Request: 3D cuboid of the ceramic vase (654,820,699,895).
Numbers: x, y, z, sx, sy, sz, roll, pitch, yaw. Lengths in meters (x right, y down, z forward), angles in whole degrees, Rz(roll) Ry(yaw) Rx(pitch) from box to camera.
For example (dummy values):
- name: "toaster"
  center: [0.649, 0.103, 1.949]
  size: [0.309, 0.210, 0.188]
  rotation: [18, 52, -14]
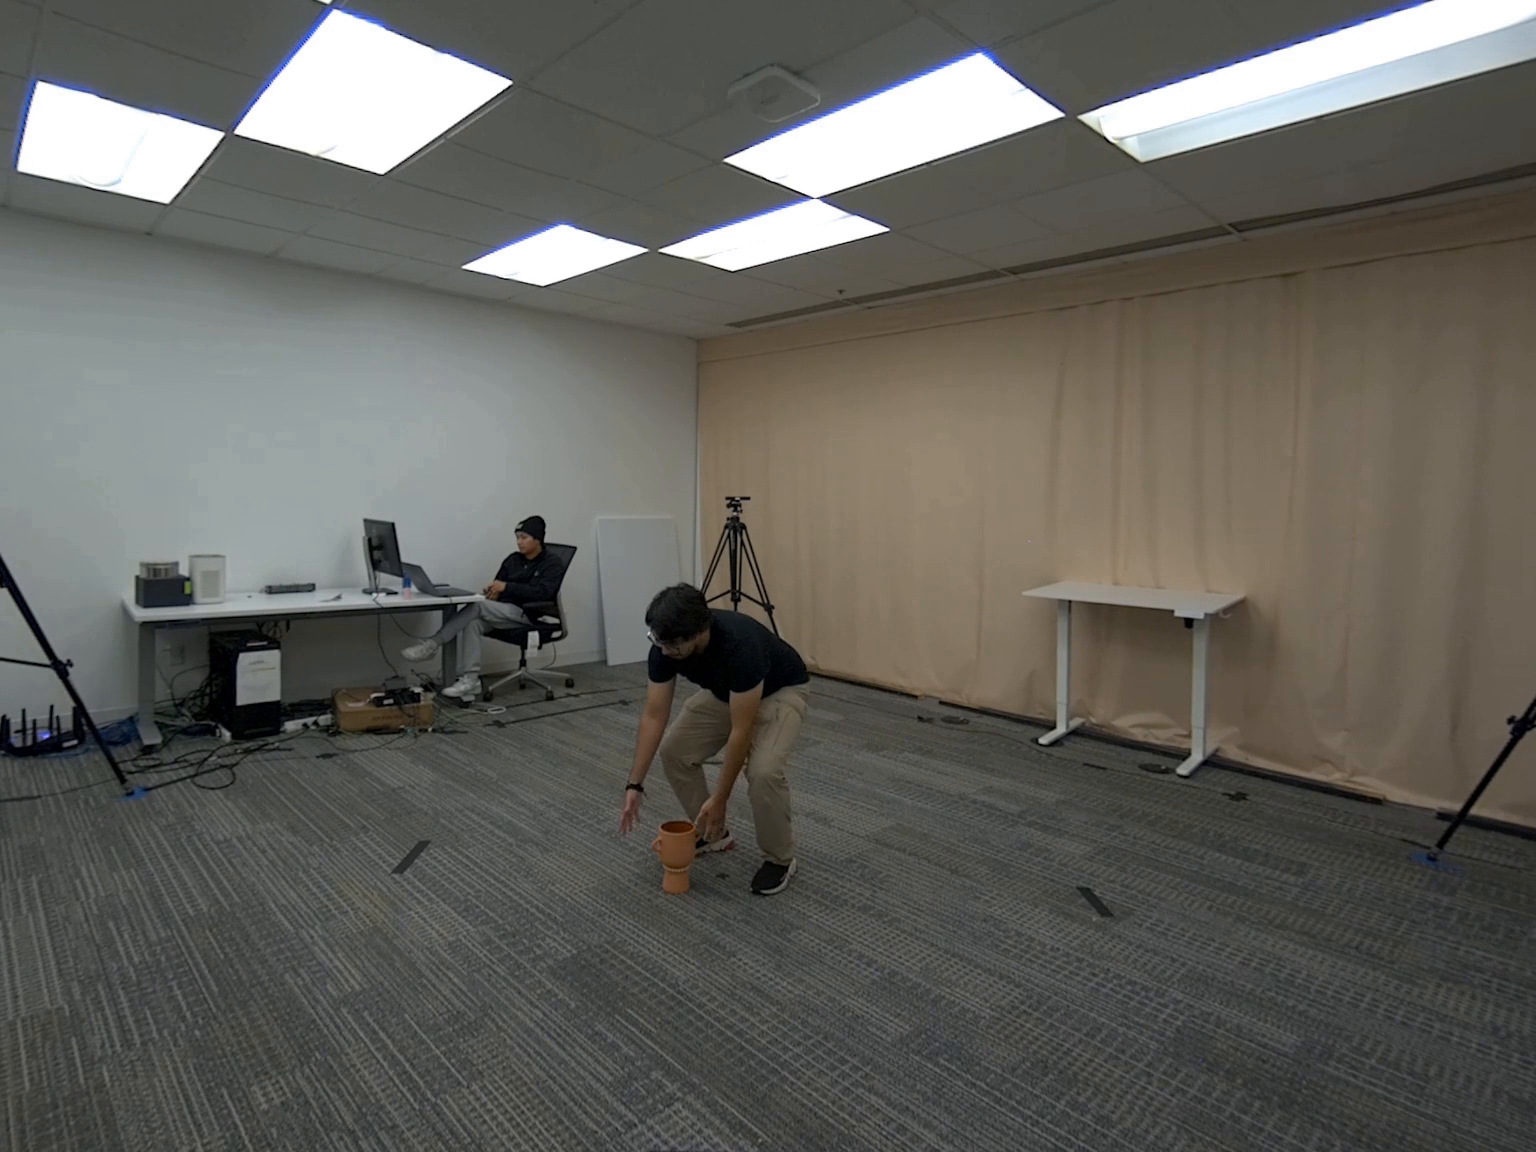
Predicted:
- name: "ceramic vase"
  center: [-0.338, 0.995, 2.999]
  size: [0.159, 0.219, 0.134]
  rotation: [2, 3, 2]
